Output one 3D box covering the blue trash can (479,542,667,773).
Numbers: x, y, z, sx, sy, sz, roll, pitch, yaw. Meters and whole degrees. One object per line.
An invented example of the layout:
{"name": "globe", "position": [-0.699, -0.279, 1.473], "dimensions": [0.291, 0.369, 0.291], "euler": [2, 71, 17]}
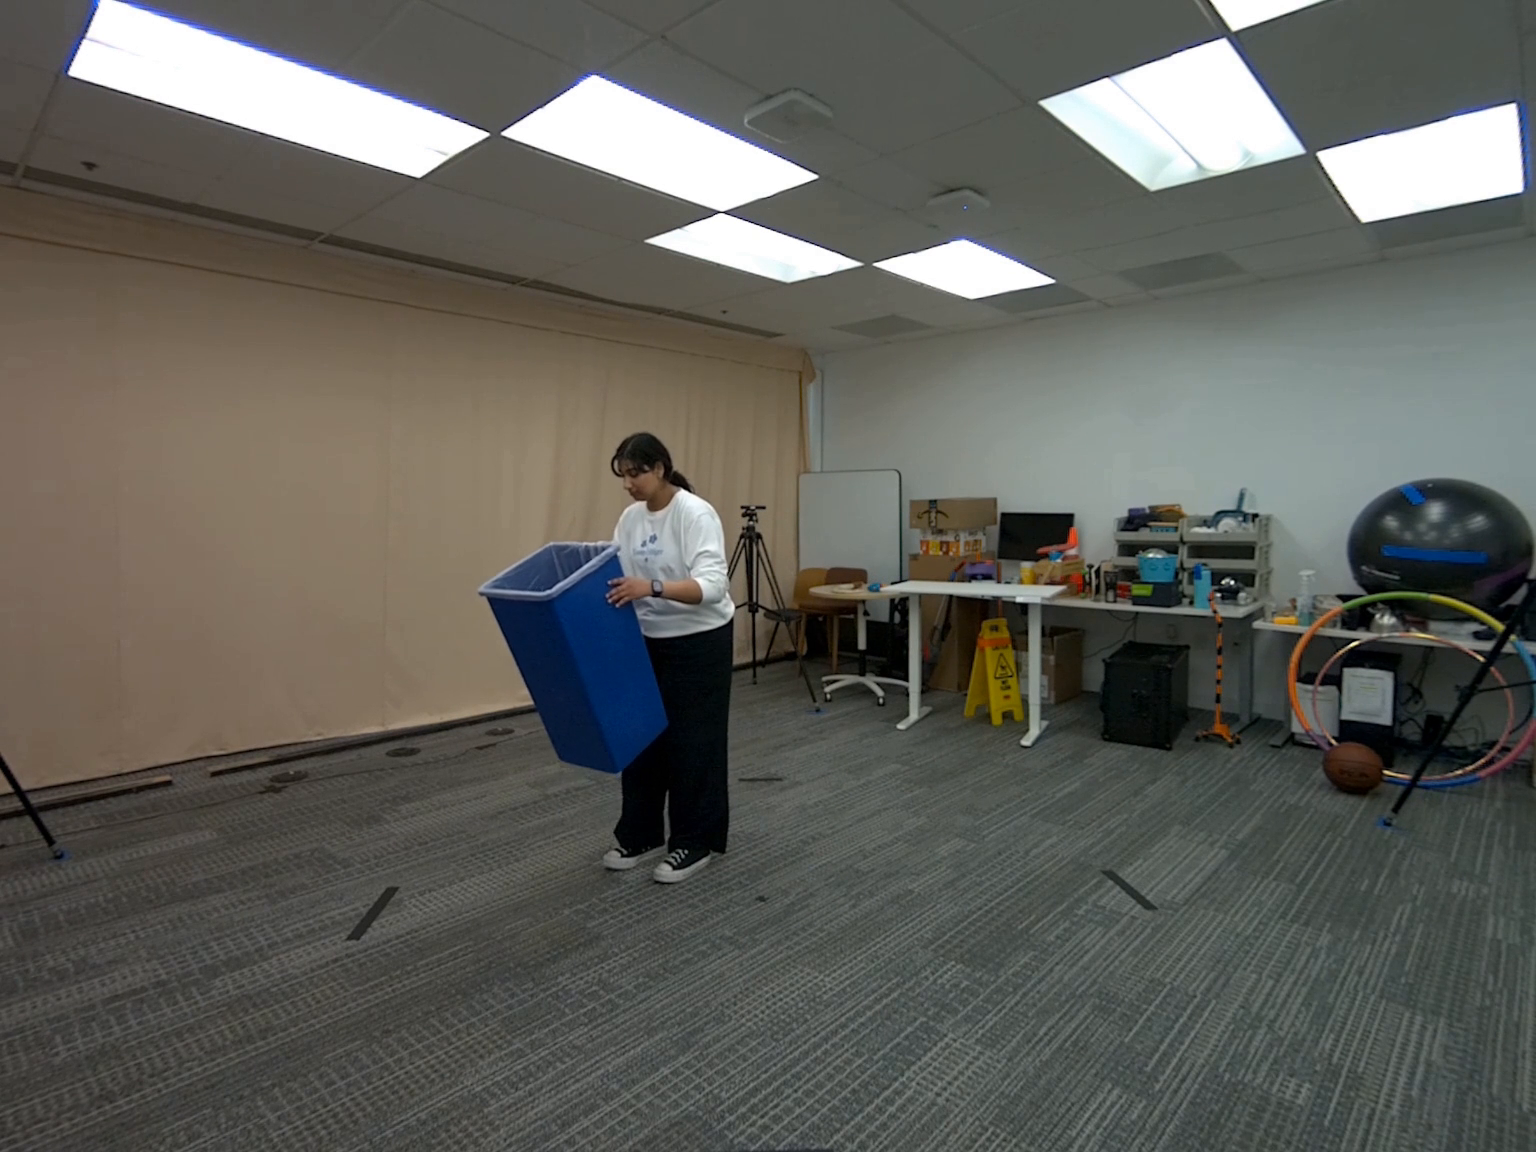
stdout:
{"name": "blue trash can", "position": [-0.642, 0.287, 2.902], "dimensions": [0.390, 0.701, 0.369], "euler": [1, 25, 36]}
